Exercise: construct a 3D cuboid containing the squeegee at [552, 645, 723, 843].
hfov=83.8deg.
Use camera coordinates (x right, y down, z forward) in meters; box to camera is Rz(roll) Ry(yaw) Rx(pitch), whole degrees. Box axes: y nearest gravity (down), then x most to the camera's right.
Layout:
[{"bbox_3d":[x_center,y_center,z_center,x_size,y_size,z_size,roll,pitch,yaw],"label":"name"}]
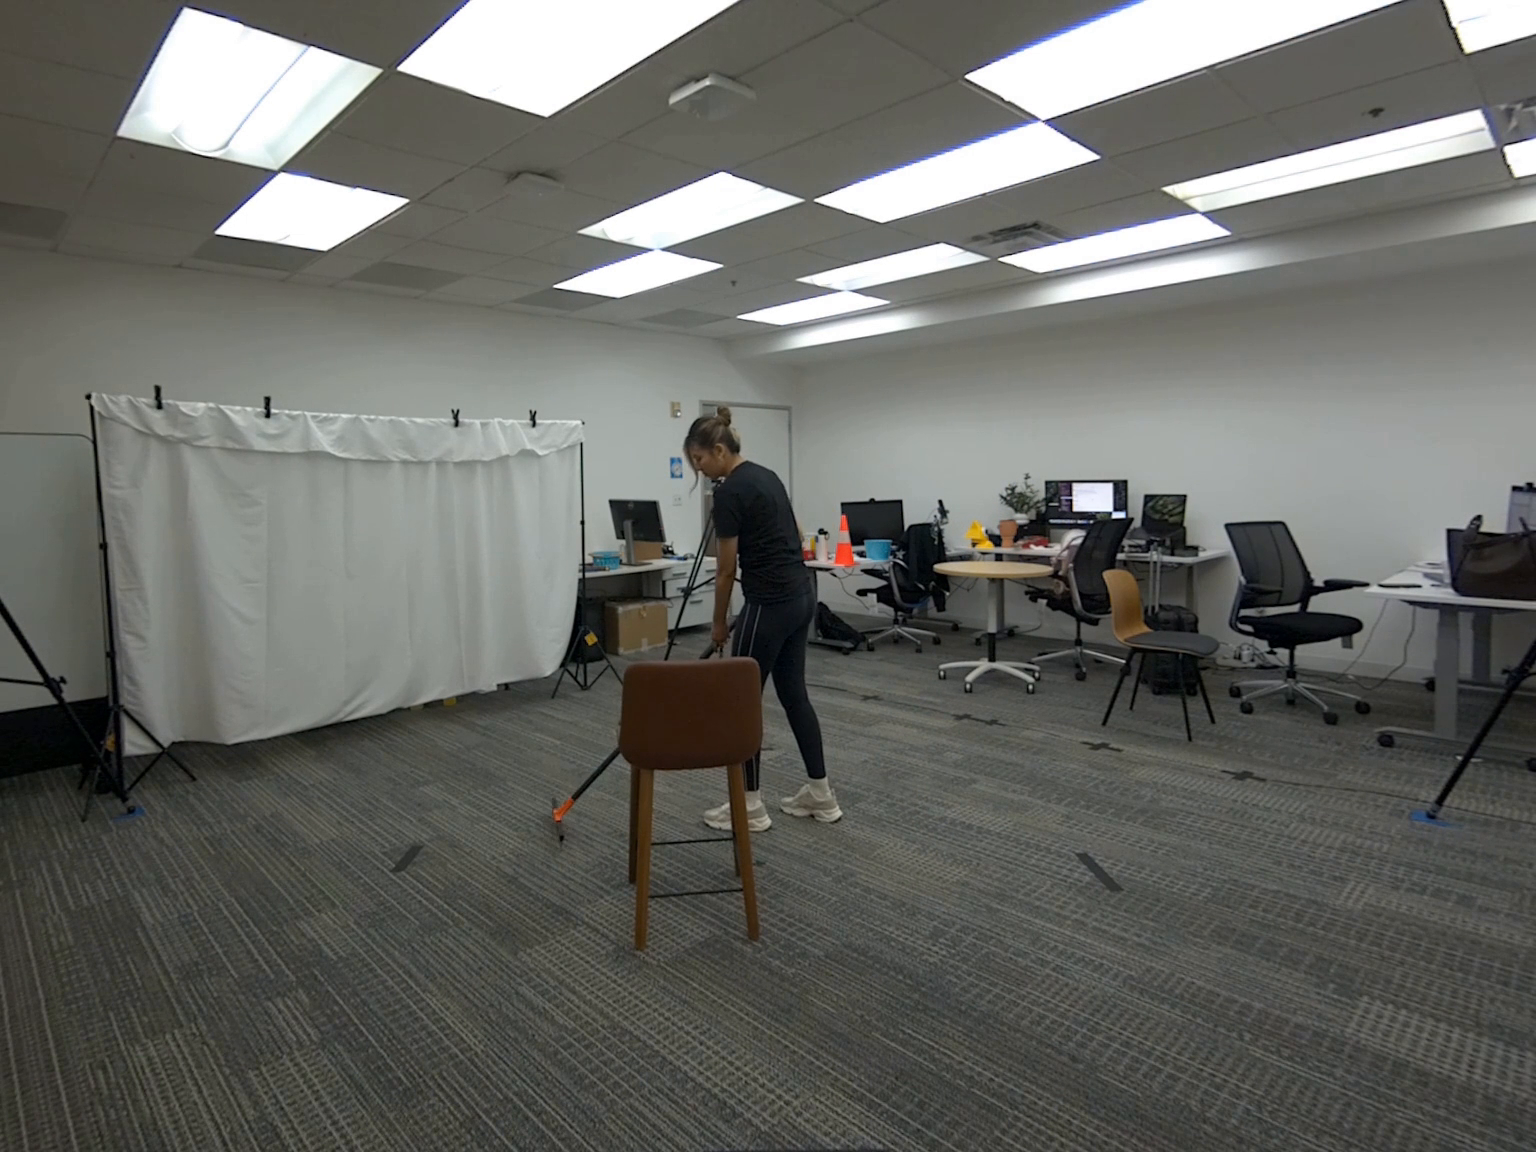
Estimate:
[{"bbox_3d":[-0.358,0.420,3.570,1.537,0.052,0.446,-47,18,-12],"label":"squeegee"}]
